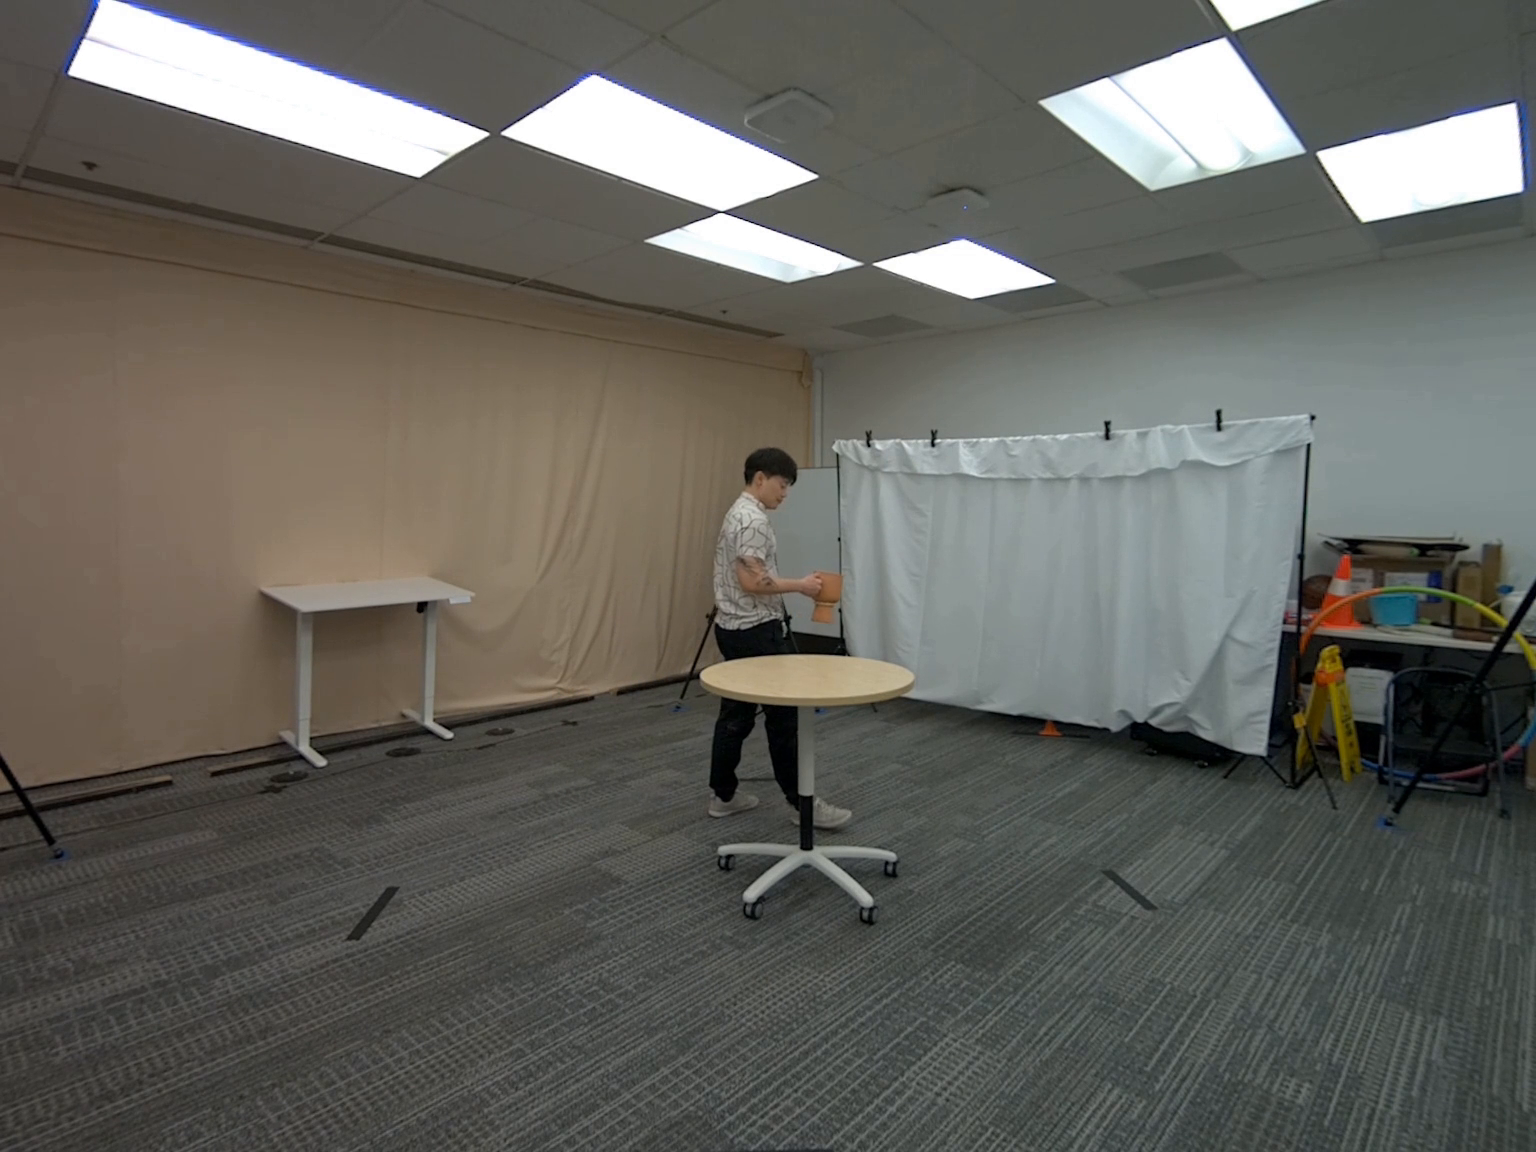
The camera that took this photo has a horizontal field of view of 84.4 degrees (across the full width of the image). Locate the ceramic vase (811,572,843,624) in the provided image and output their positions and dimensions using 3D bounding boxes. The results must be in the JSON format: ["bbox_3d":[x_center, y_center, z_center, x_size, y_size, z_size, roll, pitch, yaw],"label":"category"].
[{"bbox_3d":[0.255,0.098,3.720,0.156,0.220,0.137,9,-4,-17],"label":"ceramic vase"}]
